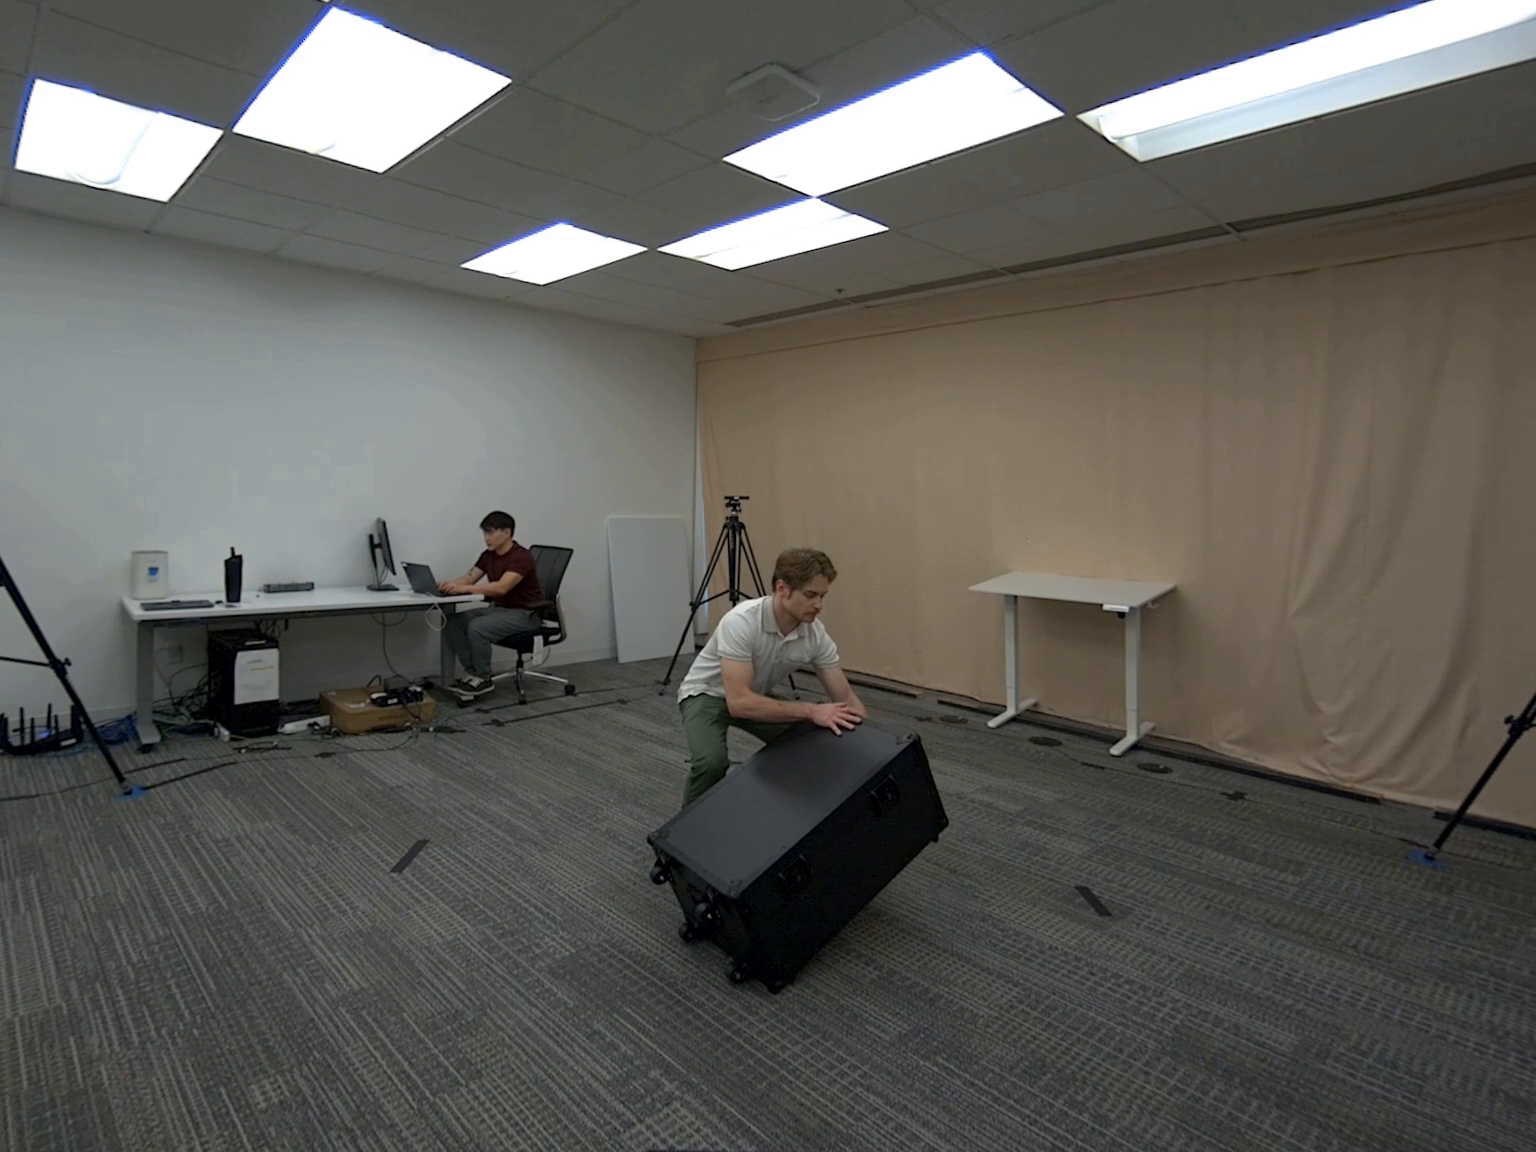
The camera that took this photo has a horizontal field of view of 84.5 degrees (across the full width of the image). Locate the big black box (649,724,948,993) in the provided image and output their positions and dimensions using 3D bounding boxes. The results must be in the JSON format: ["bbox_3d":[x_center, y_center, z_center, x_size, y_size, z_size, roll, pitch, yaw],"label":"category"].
[{"bbox_3d":[0.072,0.834,2.675,0.862,0.378,0.537,-32,23,-28],"label":"big black box"}]
